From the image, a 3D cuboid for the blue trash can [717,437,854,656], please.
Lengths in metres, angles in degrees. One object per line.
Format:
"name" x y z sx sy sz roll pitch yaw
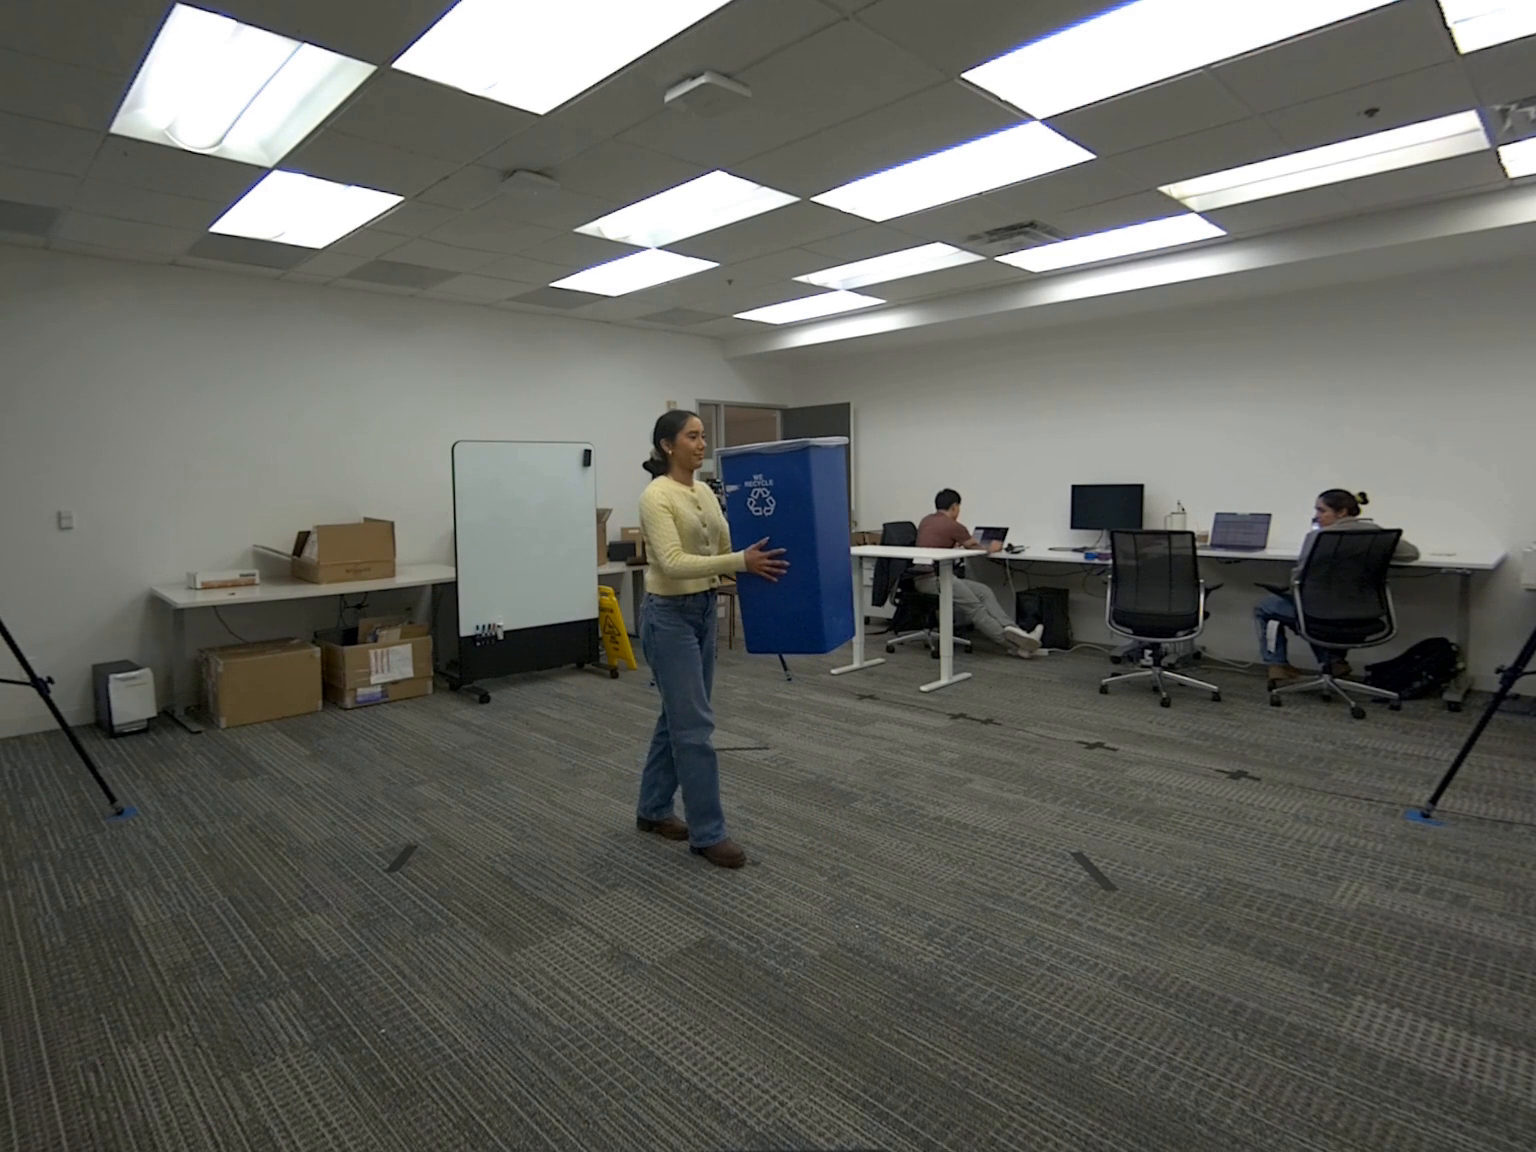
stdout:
"blue trash can" 0.092 -0.113 2.989 0.382 0.711 0.371 -4 5 27
